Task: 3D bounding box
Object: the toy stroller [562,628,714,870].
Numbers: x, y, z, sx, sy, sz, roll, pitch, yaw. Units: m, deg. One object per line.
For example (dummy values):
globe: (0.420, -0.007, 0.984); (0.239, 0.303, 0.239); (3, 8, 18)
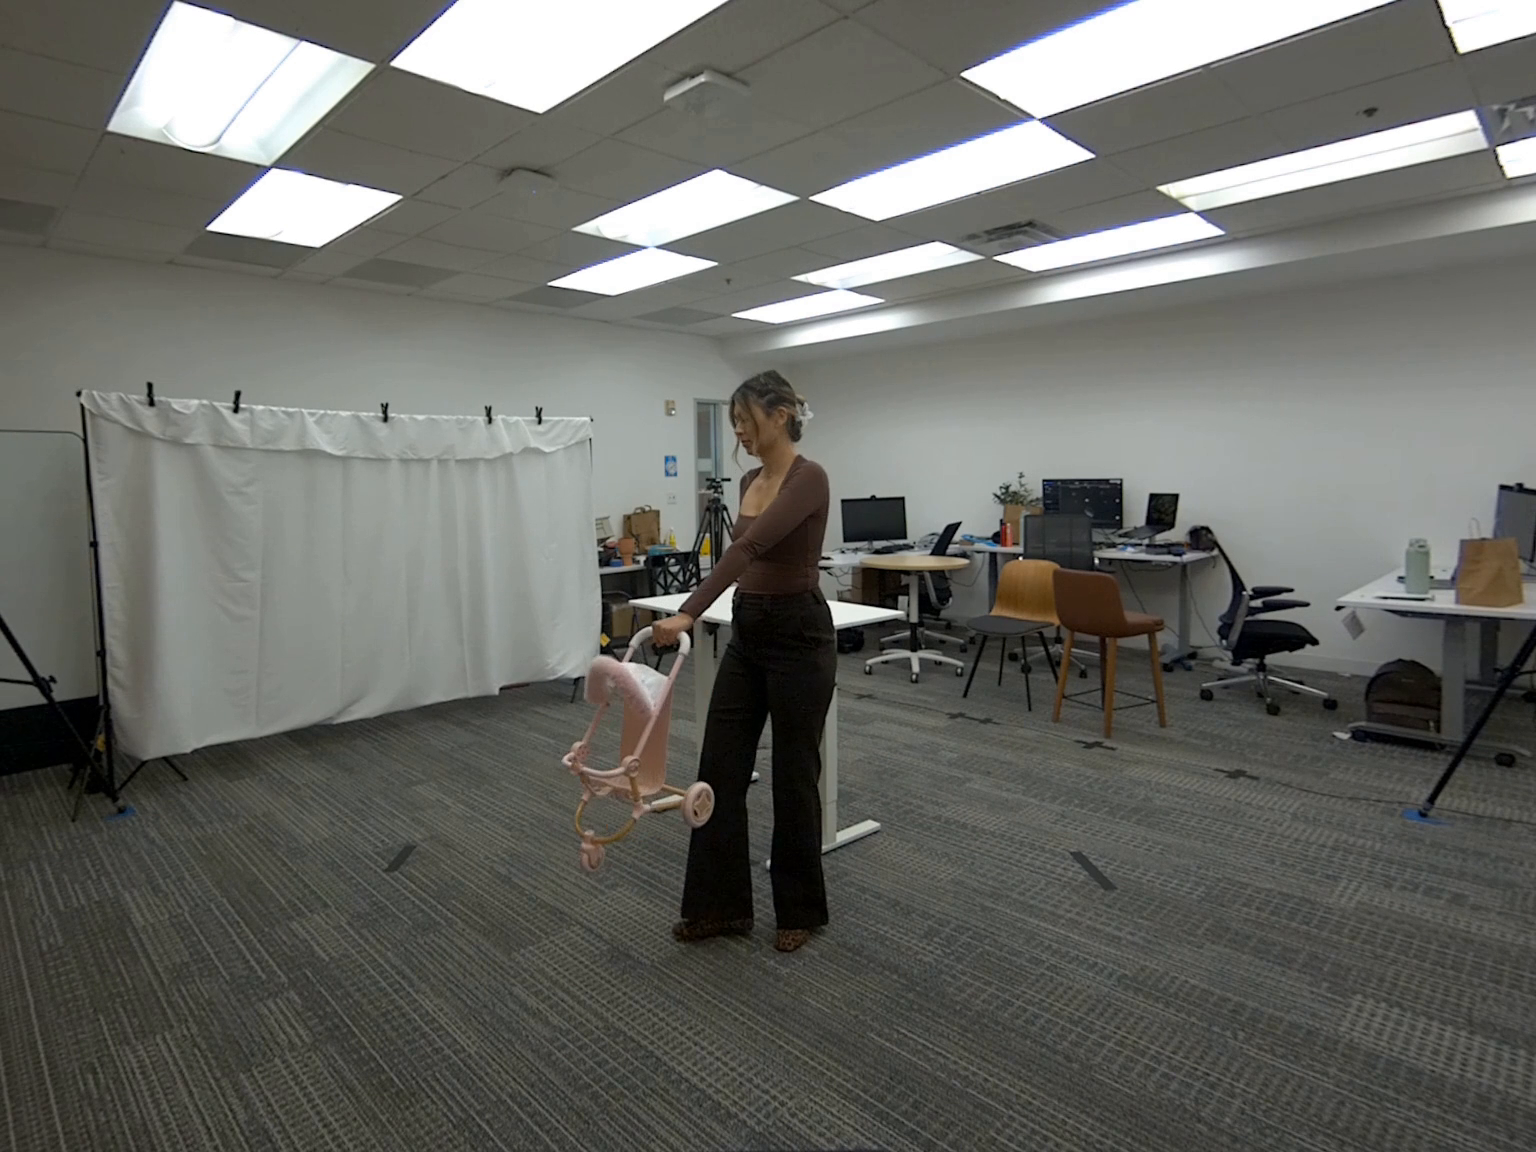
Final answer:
toy stroller: (-0.347, 0.425, 2.120); (0.290, 0.531, 0.333); (5, 10, 45)
